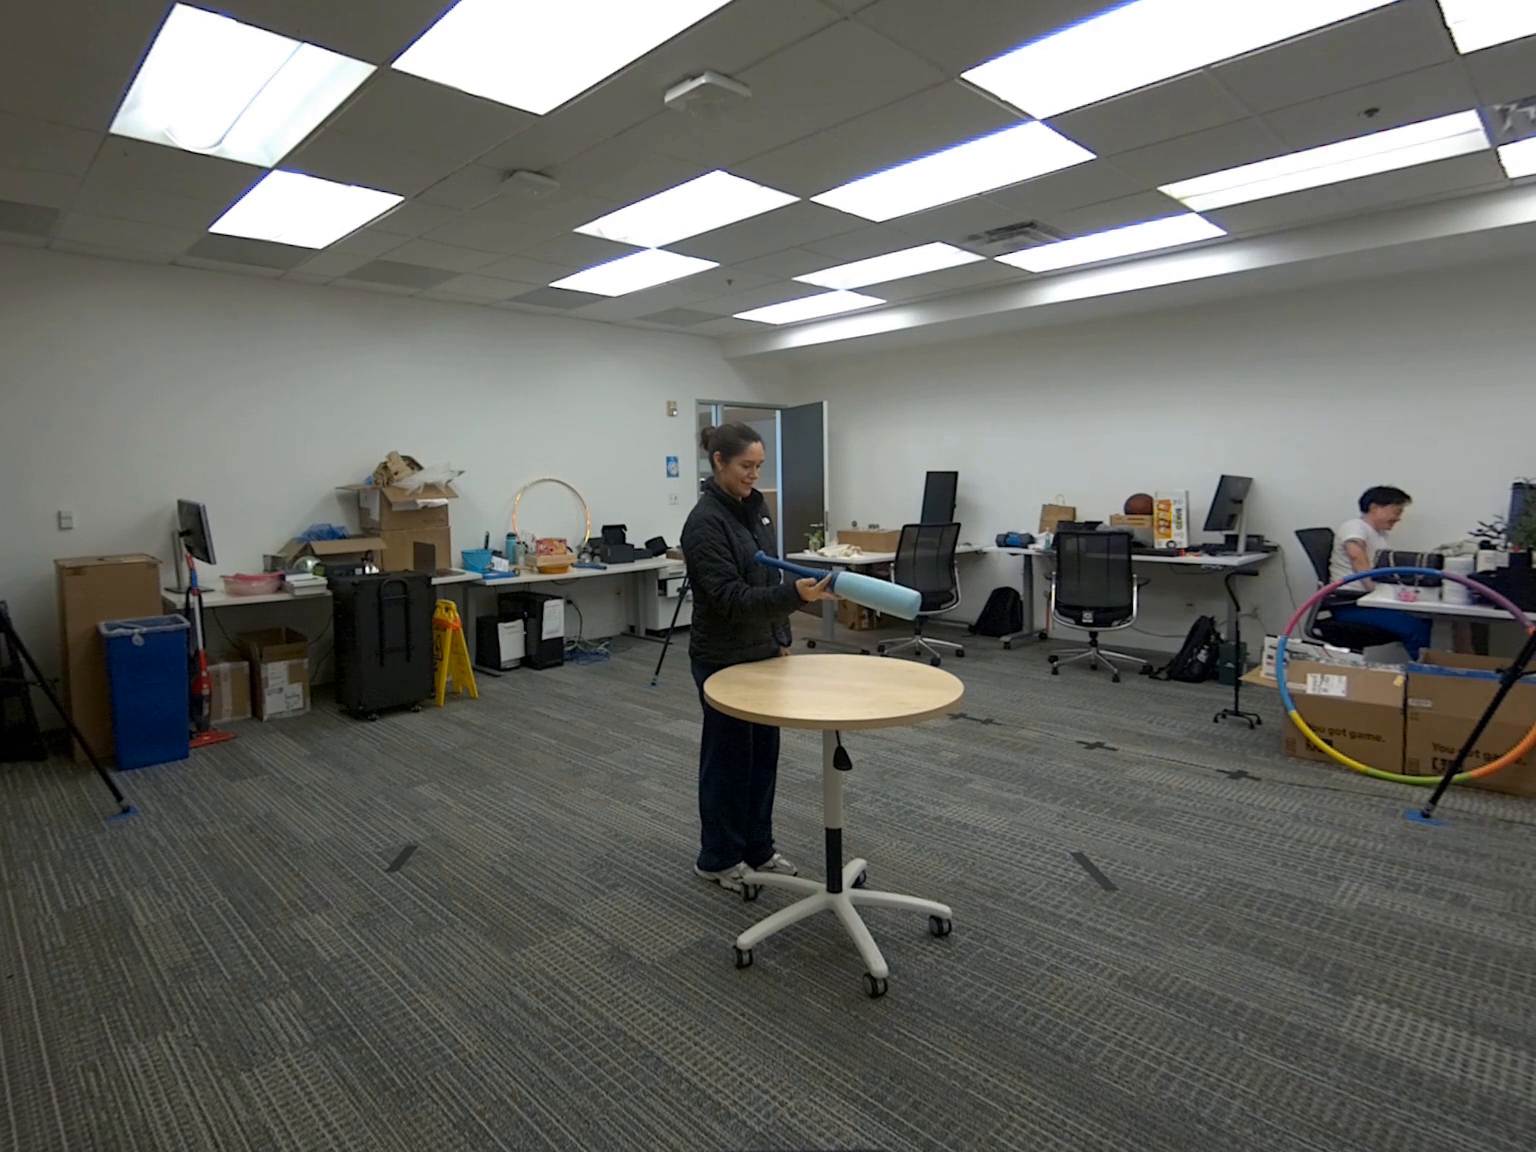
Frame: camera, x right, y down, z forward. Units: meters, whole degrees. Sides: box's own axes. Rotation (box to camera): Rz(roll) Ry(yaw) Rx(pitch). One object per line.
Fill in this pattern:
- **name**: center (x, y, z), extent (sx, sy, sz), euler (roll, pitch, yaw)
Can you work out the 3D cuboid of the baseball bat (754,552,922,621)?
- **baseball bat**: center (0.193, 0.013, 2.606), extent (0.558, 0.088, 0.087), euler (16, 11, 26)
